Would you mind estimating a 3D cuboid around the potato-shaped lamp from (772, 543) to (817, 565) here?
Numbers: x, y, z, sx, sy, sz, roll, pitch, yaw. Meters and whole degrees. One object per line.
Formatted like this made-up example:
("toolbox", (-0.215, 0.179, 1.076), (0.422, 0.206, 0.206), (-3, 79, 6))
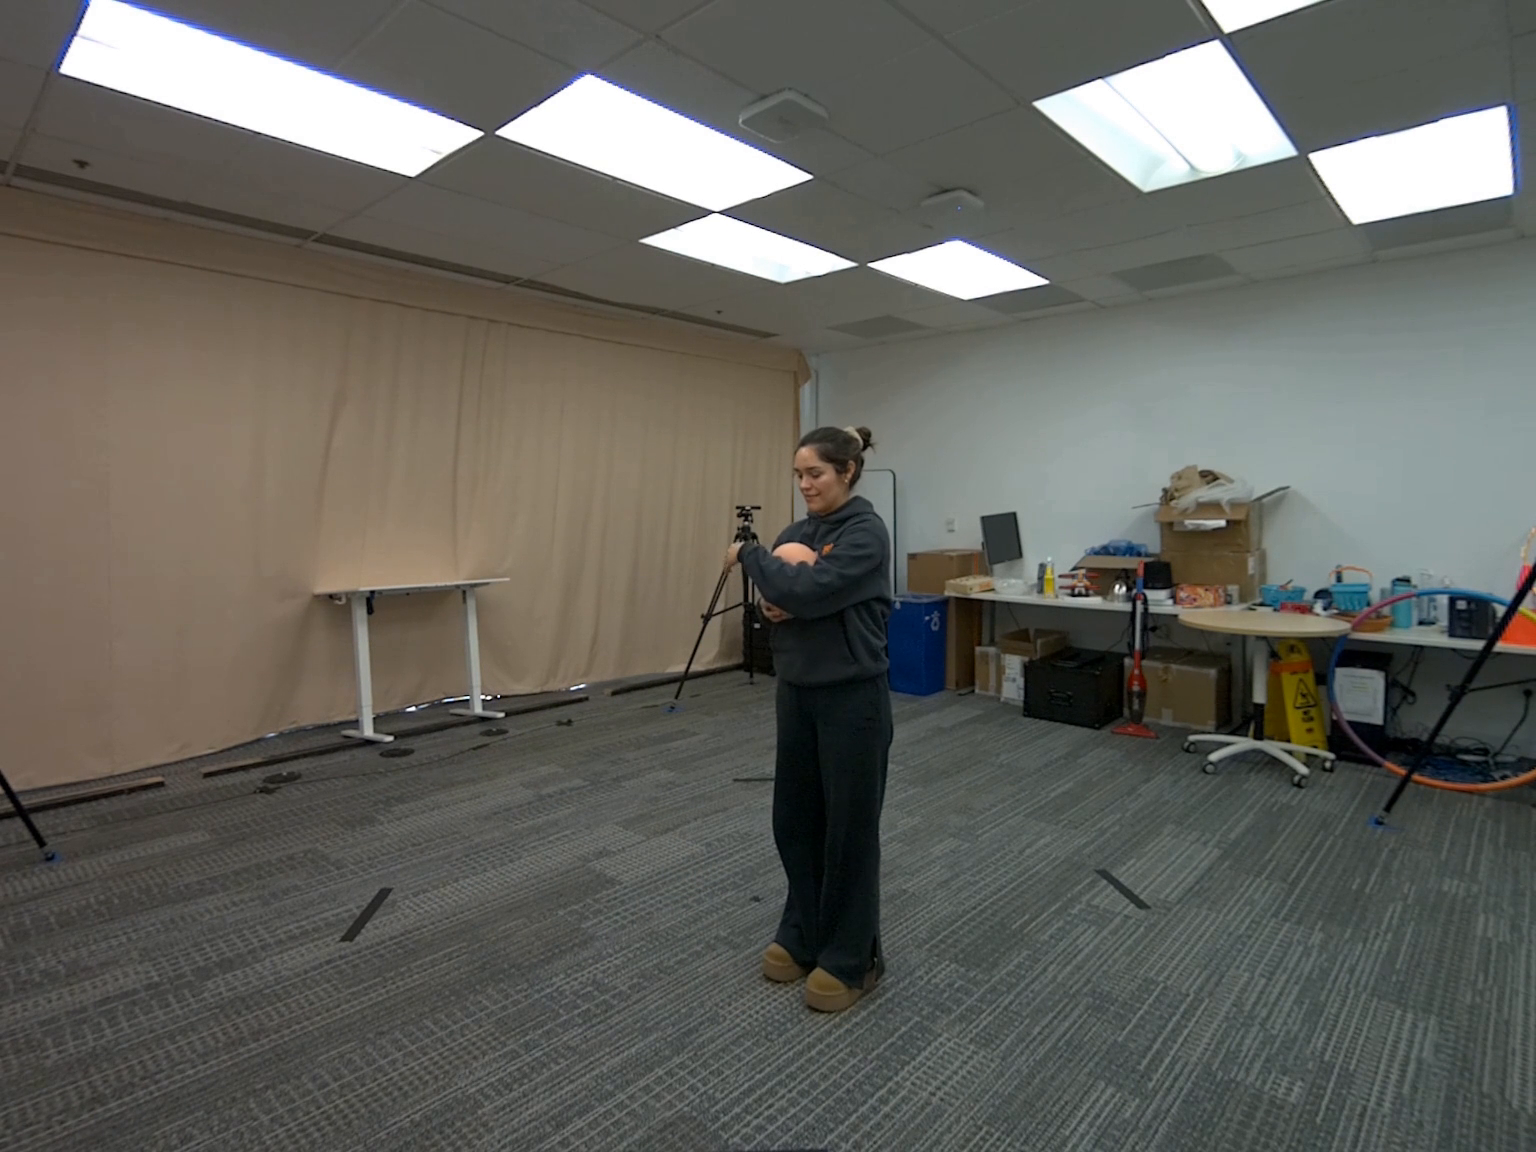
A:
("potato-shaped lamp", (0.082, 0.022, 2.394), (0.175, 0.198, 0.161), (19, 0, 17))
